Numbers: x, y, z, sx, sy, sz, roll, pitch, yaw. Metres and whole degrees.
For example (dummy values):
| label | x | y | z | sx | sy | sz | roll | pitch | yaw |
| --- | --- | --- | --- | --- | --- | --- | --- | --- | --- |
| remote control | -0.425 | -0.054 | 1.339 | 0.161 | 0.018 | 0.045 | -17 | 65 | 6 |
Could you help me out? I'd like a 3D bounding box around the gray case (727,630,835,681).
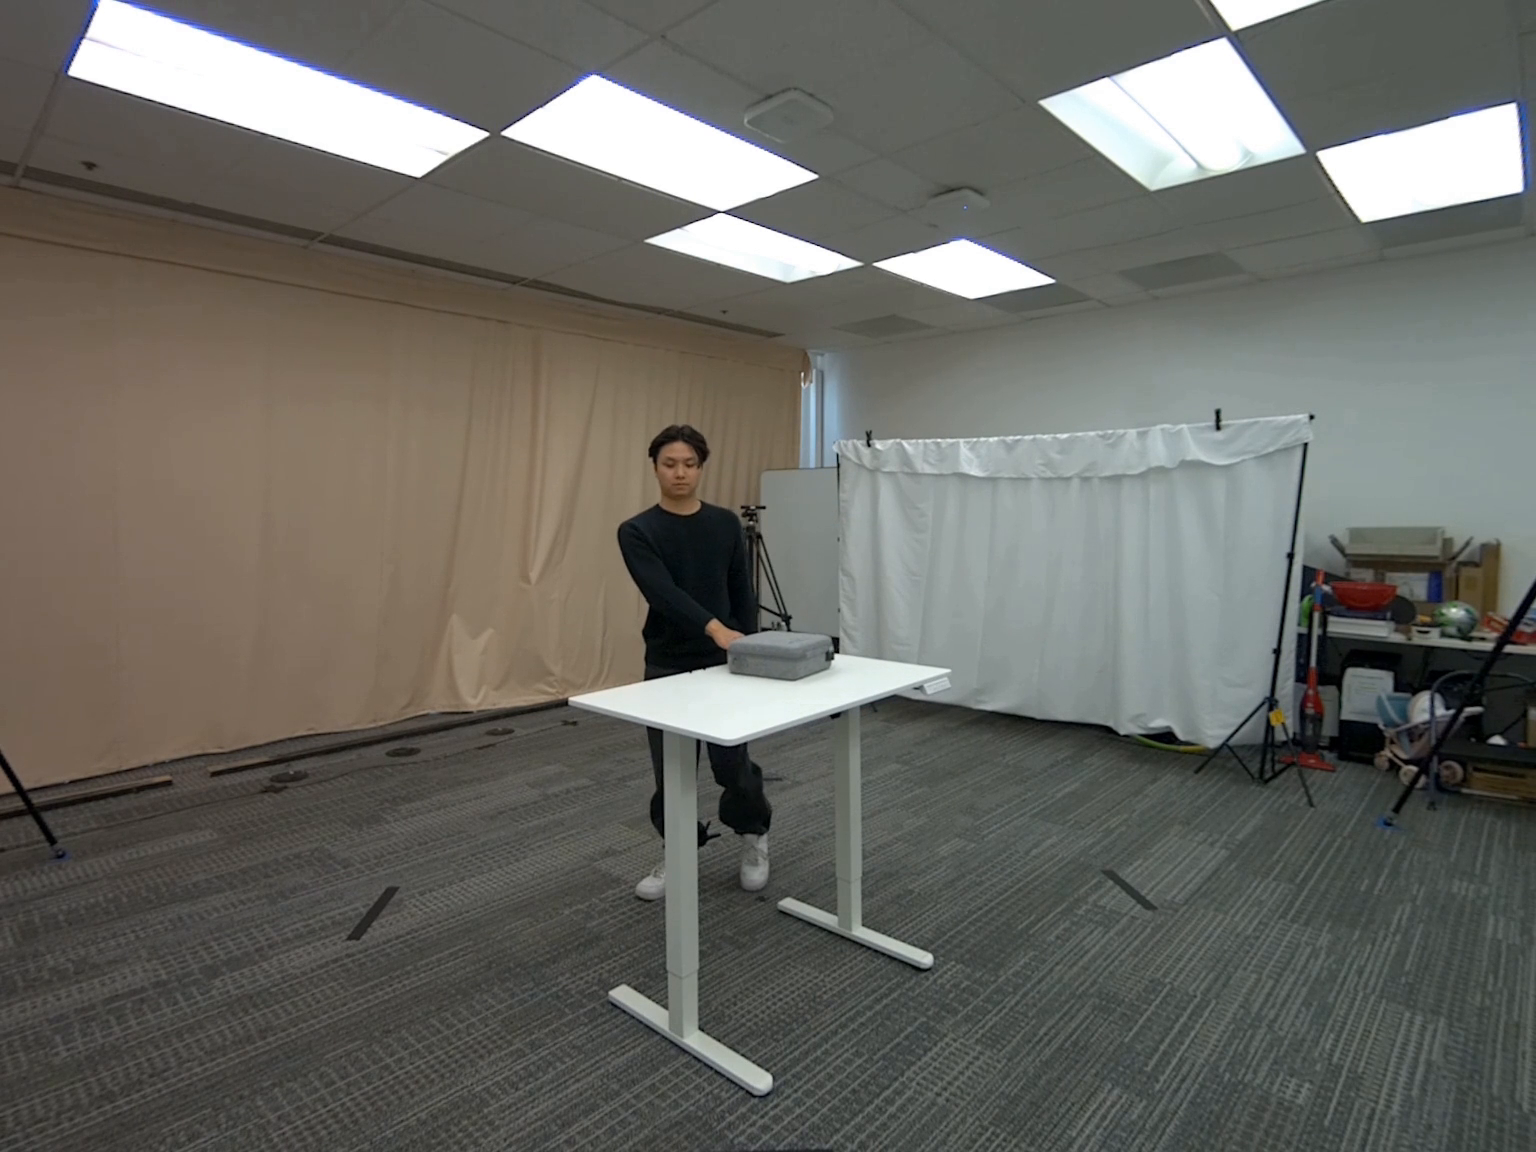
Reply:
| label | x | y | z | sx | sy | sz | roll | pitch | yaw |
| --- | --- | --- | --- | --- | --- | --- | --- | --- | --- |
| gray case | 0.037 | 0.240 | 2.589 | 0.269 | 0.104 | 0.250 | 2 | 7 | 34 |
